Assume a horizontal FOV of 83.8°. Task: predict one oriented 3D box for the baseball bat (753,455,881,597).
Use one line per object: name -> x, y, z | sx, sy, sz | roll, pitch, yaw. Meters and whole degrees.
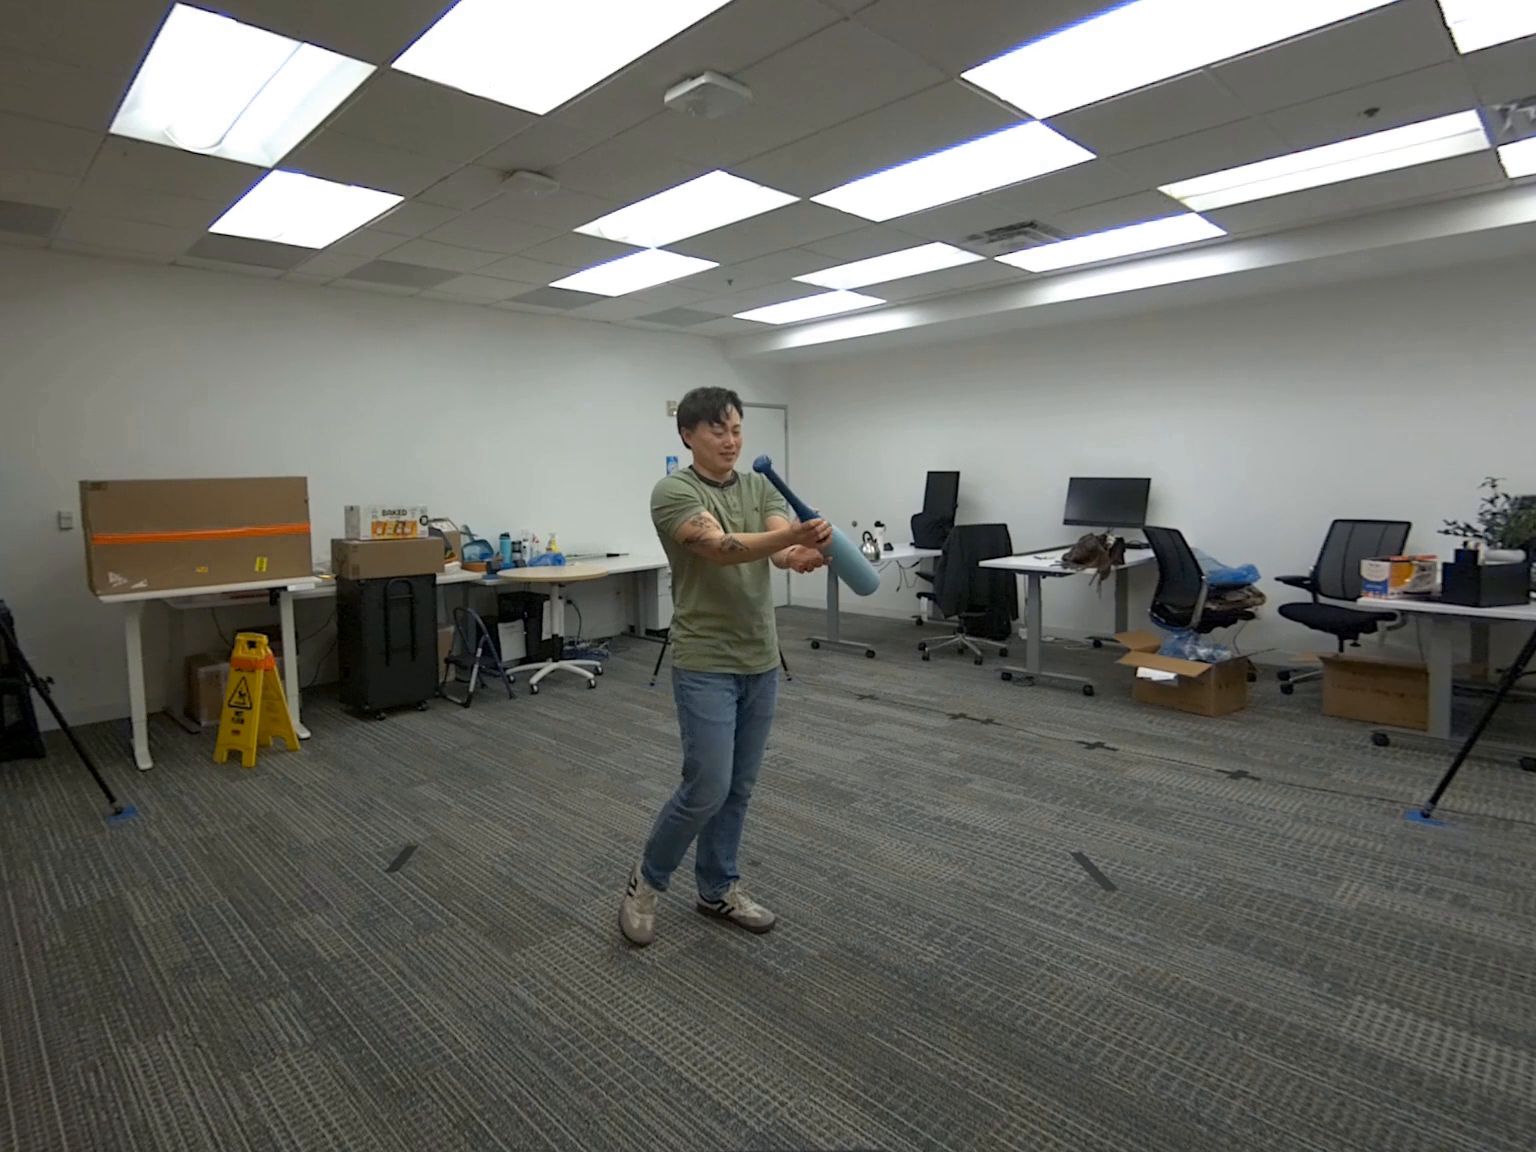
baseball bat -> 0.129, -0.124, 2.217 | 0.092, 0.089, 0.524 | 4, -32, 50
